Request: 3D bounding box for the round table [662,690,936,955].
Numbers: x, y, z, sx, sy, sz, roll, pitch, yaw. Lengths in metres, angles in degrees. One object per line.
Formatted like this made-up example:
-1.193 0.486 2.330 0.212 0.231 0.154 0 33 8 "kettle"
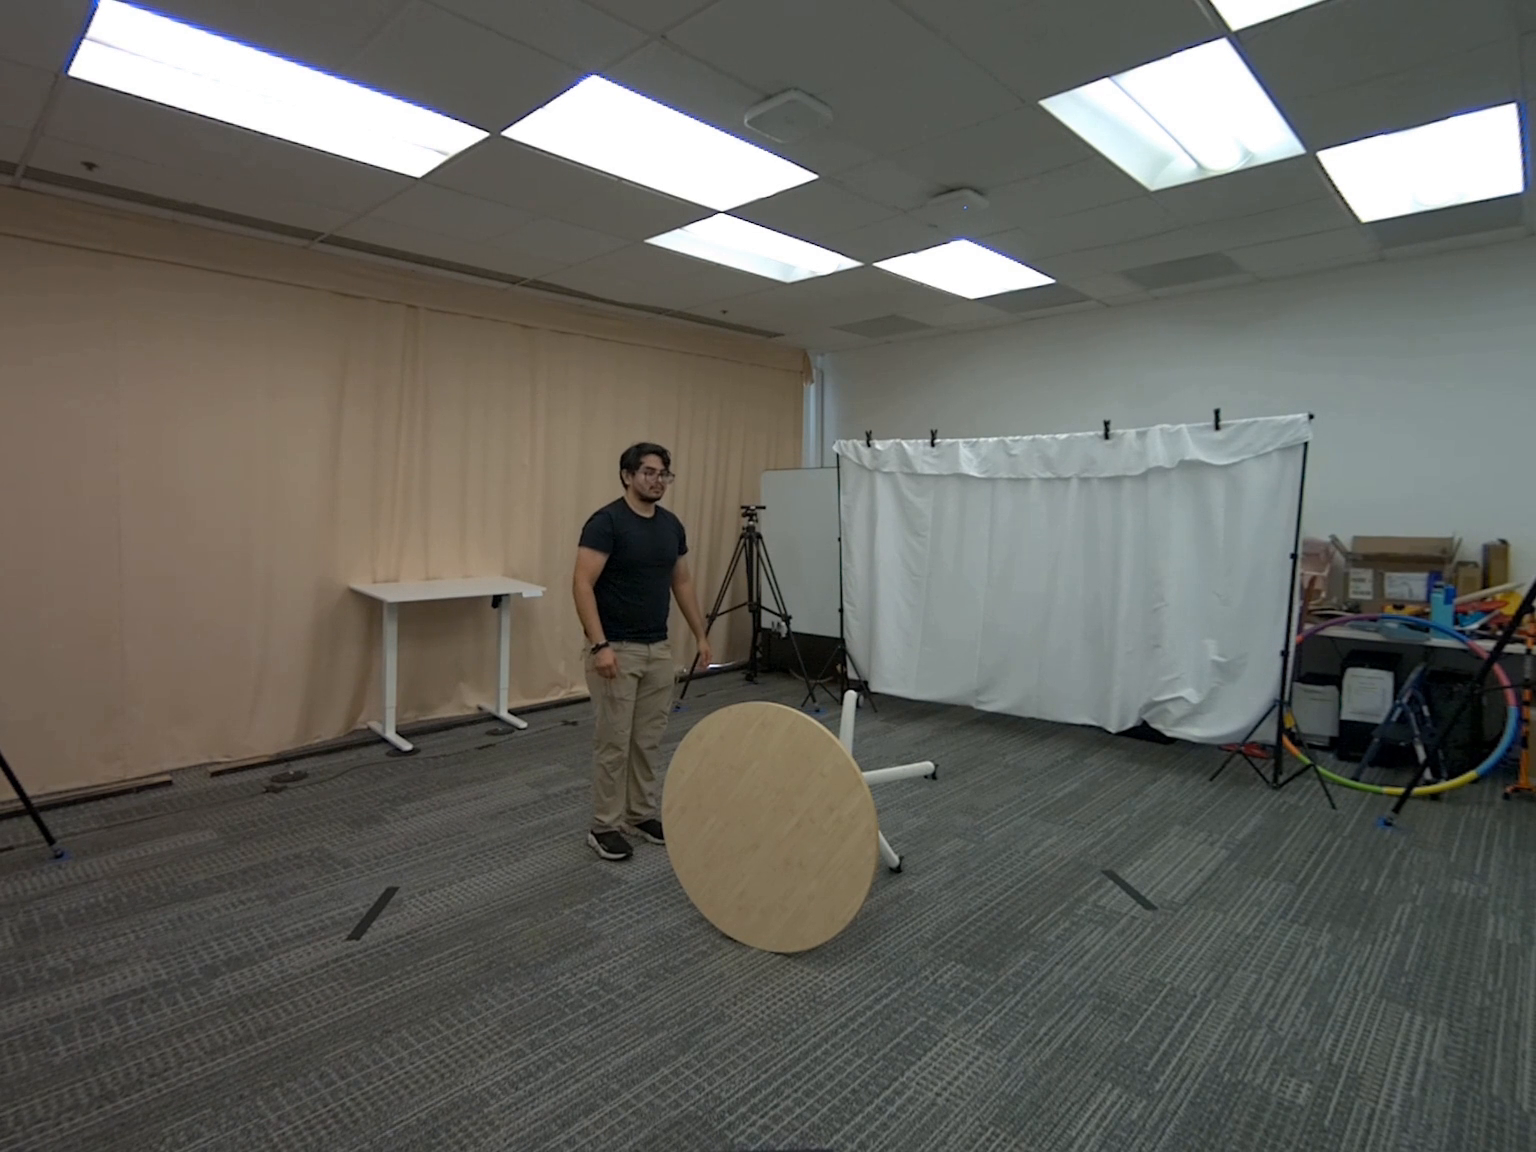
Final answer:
0.168 0.784 2.995 0.808 0.785 0.764 2 0 29 "round table"
